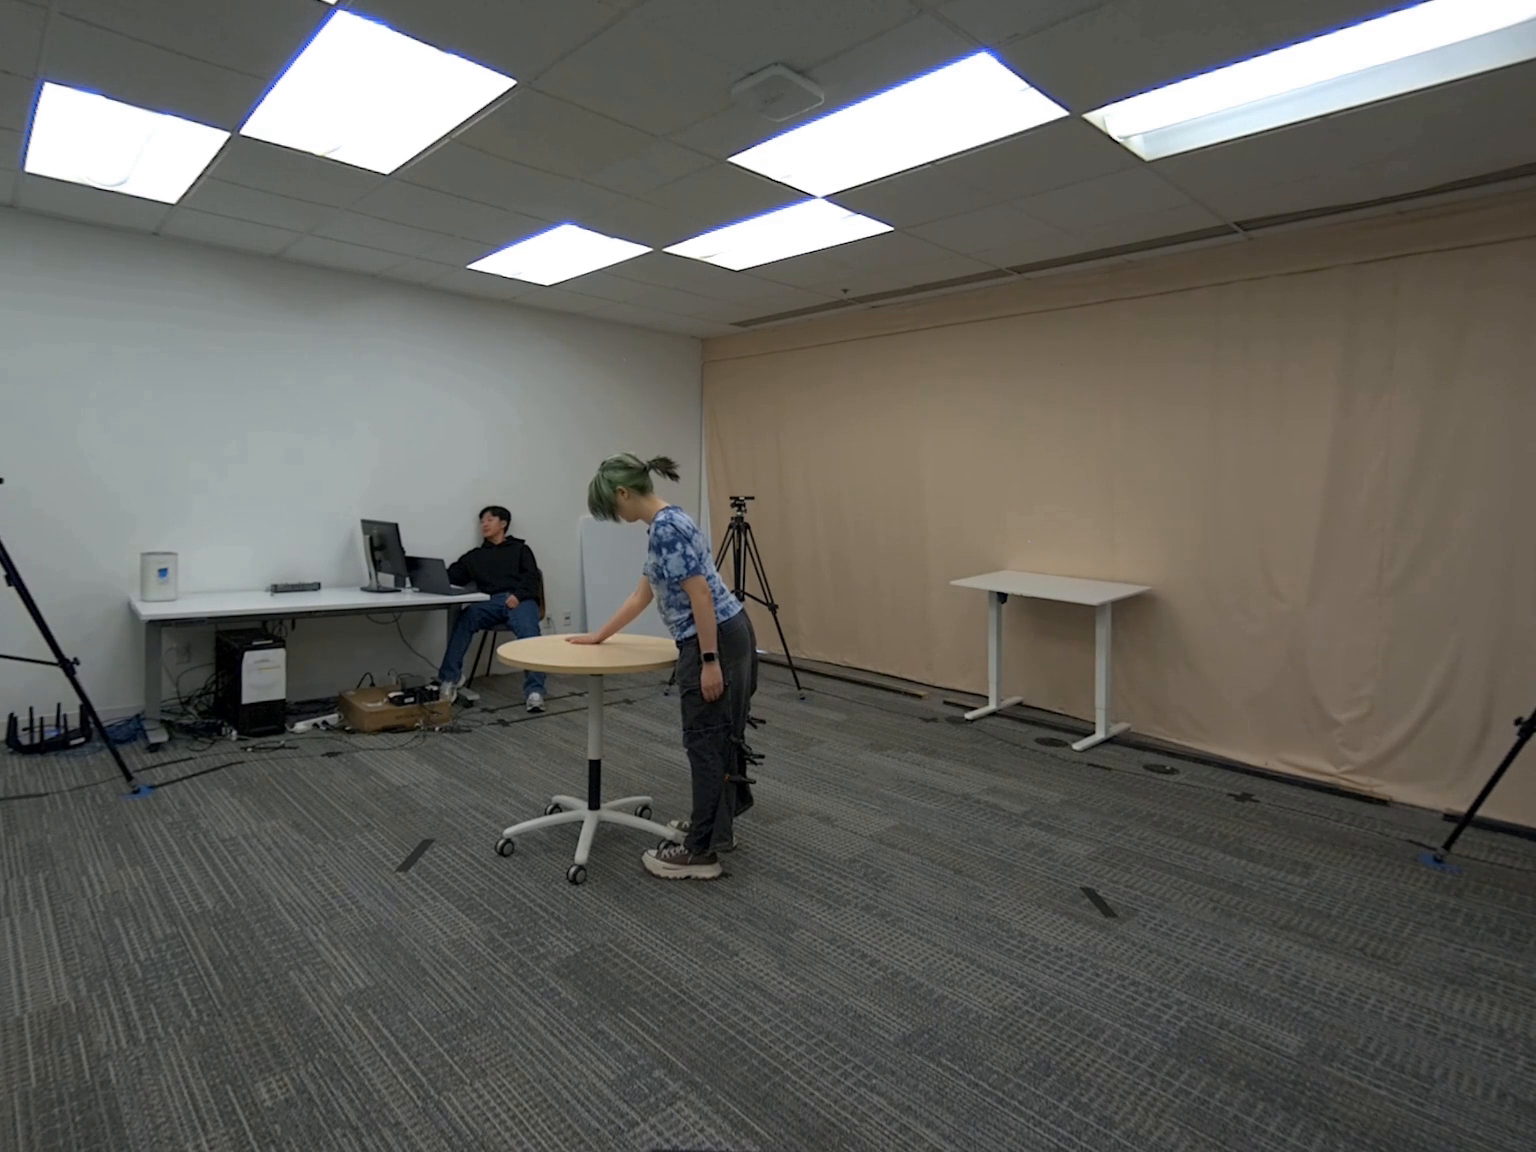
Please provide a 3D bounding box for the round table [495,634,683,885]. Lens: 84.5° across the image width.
[{"bbox_3d":[-0.680,0.675,3.352,0.784,0.784,0.788,1,4,-1],"label":"round table"}]
